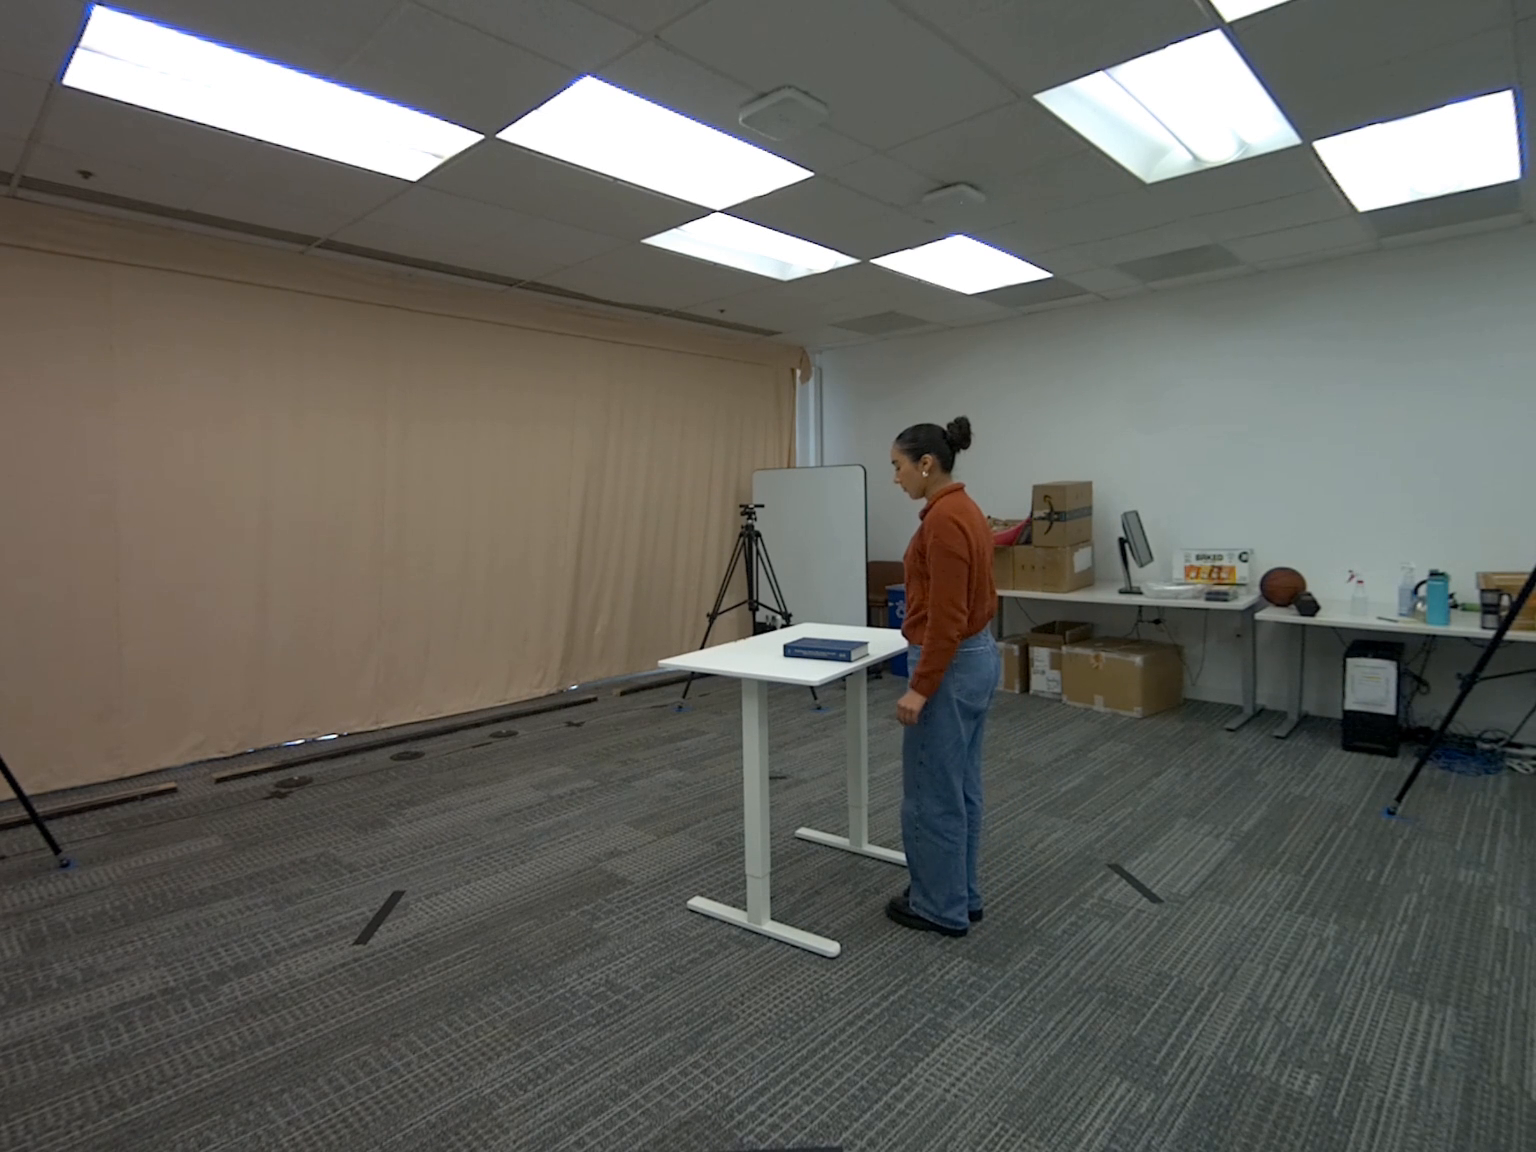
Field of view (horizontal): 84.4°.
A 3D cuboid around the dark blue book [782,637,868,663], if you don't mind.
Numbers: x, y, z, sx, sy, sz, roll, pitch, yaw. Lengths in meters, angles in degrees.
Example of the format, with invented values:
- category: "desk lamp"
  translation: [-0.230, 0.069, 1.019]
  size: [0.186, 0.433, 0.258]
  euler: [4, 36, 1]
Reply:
- category: "dark blue book"
  translation: [0.199, 0.248, 2.827]
  size: [0.252, 0.045, 0.159]
  euler: [2, 6, 29]
